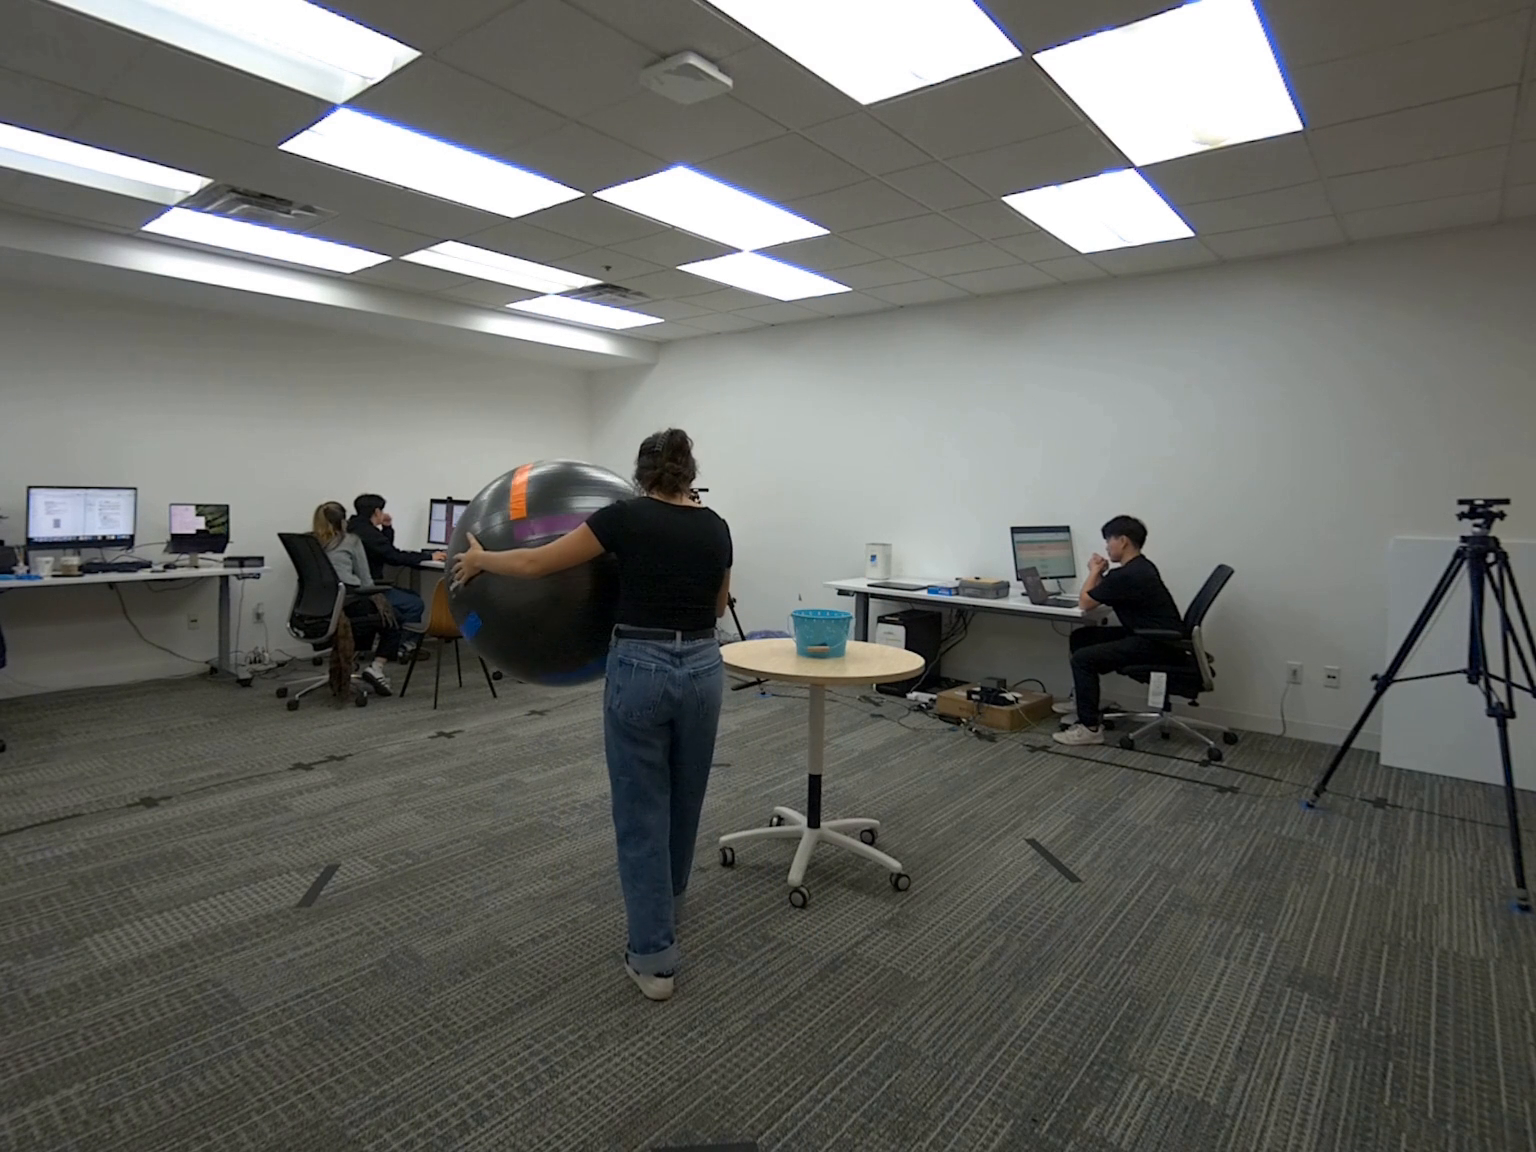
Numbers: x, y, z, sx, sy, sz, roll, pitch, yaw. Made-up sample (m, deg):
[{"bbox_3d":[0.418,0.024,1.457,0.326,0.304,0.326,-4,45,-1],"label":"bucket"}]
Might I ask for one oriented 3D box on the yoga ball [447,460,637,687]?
[{"bbox_3d":[-0.709,-0.004,2.853,0.757,0.755,0.762,1,4,-2],"label":"yoga ball"}]
